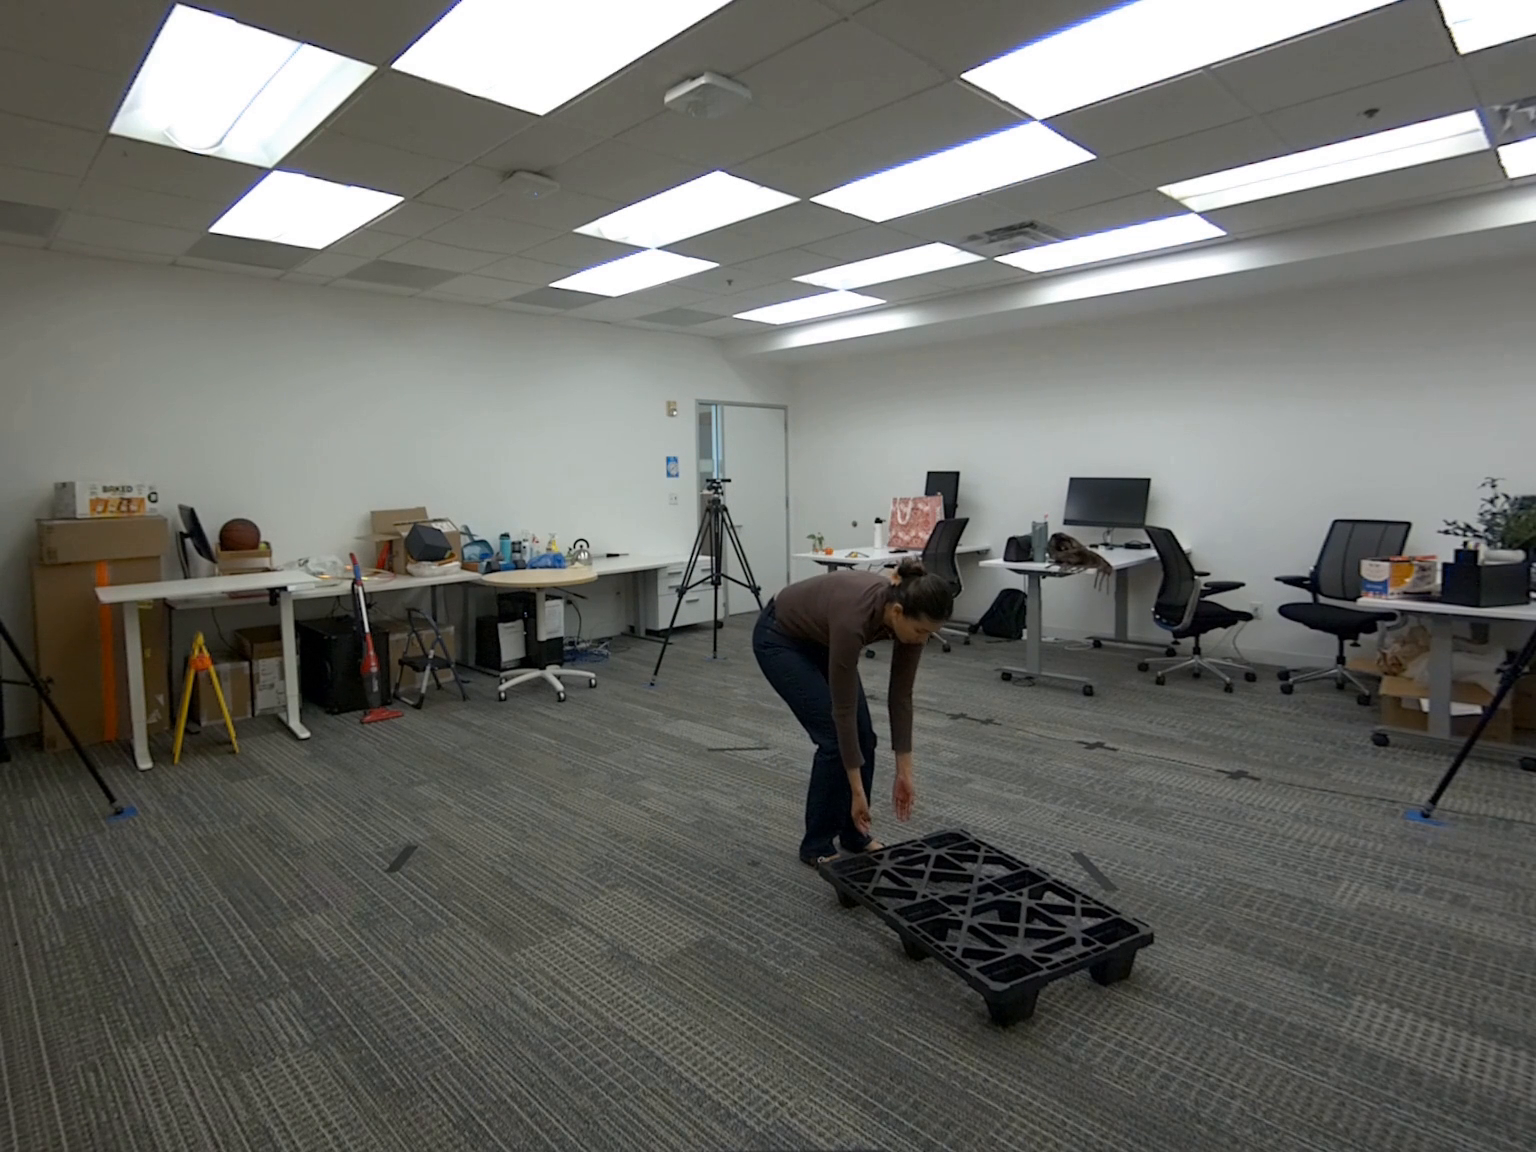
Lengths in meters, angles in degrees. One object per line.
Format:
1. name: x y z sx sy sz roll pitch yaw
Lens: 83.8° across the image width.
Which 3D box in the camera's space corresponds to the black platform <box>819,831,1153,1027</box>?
1. black platform: 0.627 1.026 2.585 0.591 0.142 0.828 -4 7 -28
